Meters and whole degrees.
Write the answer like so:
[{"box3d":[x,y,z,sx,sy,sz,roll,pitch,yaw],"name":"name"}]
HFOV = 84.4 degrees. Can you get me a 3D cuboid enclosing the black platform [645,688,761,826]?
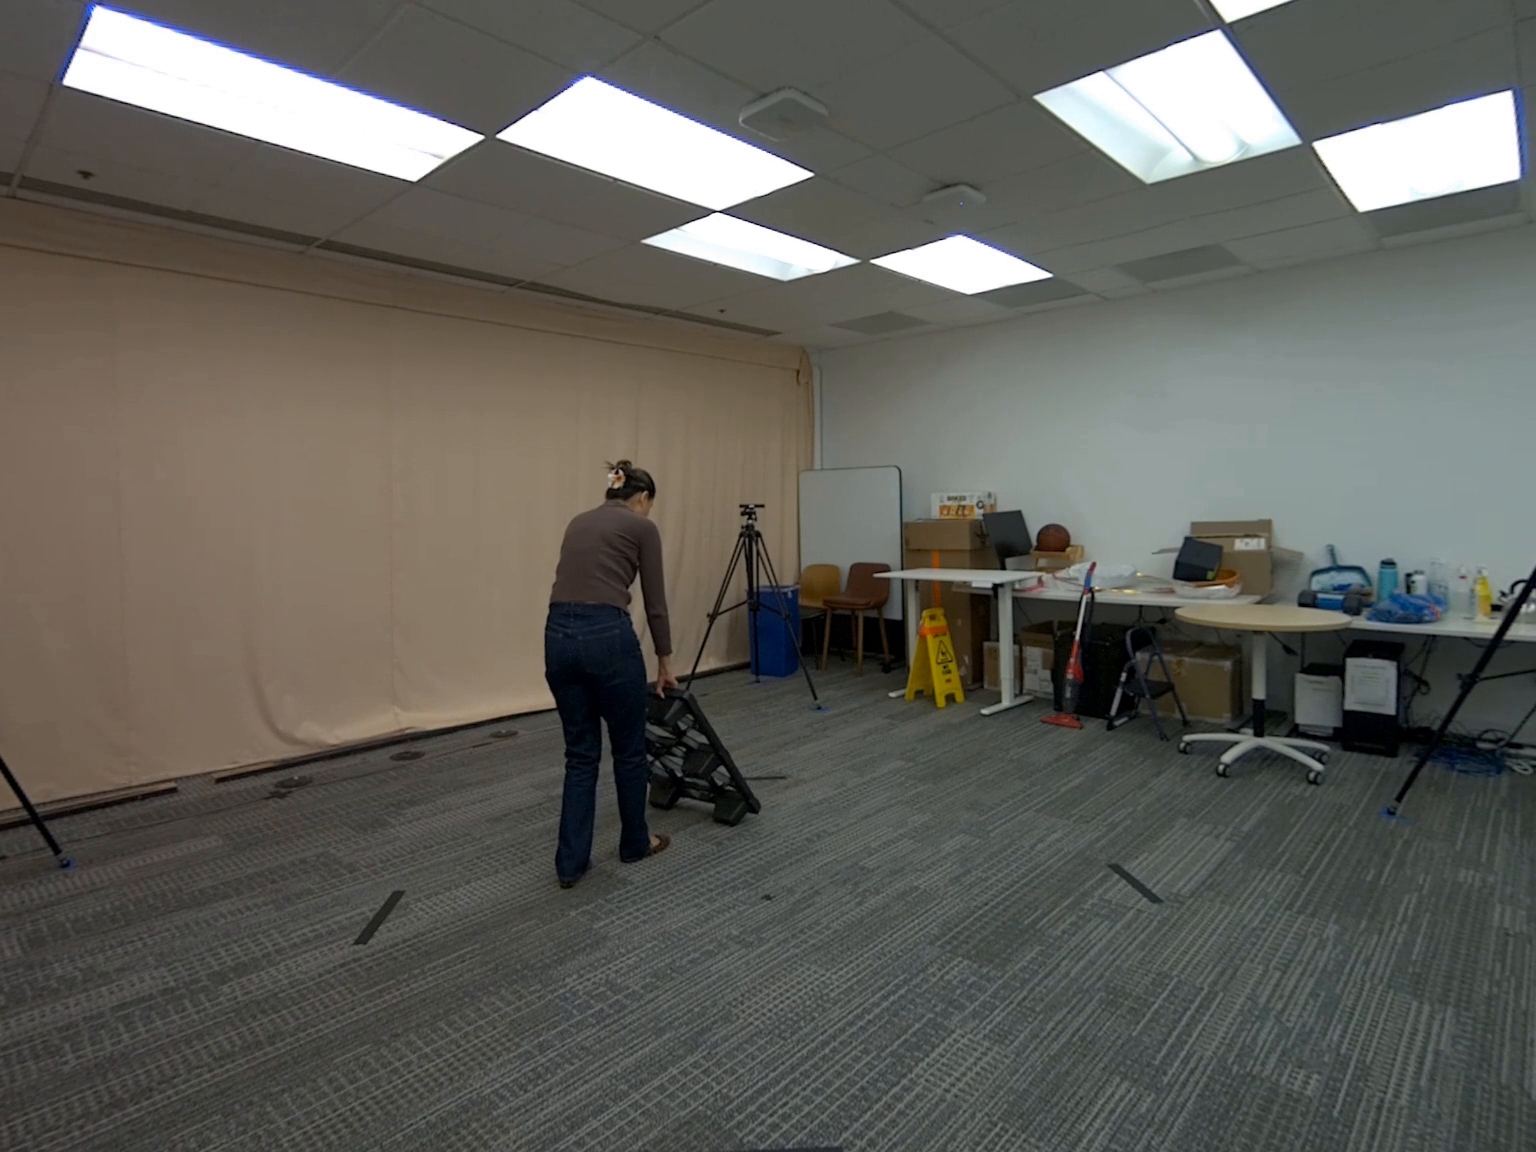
[{"box3d":[-0.447,0.764,3.625,0.623,0.783,0.143,1,42,34],"name":"black platform"}]
